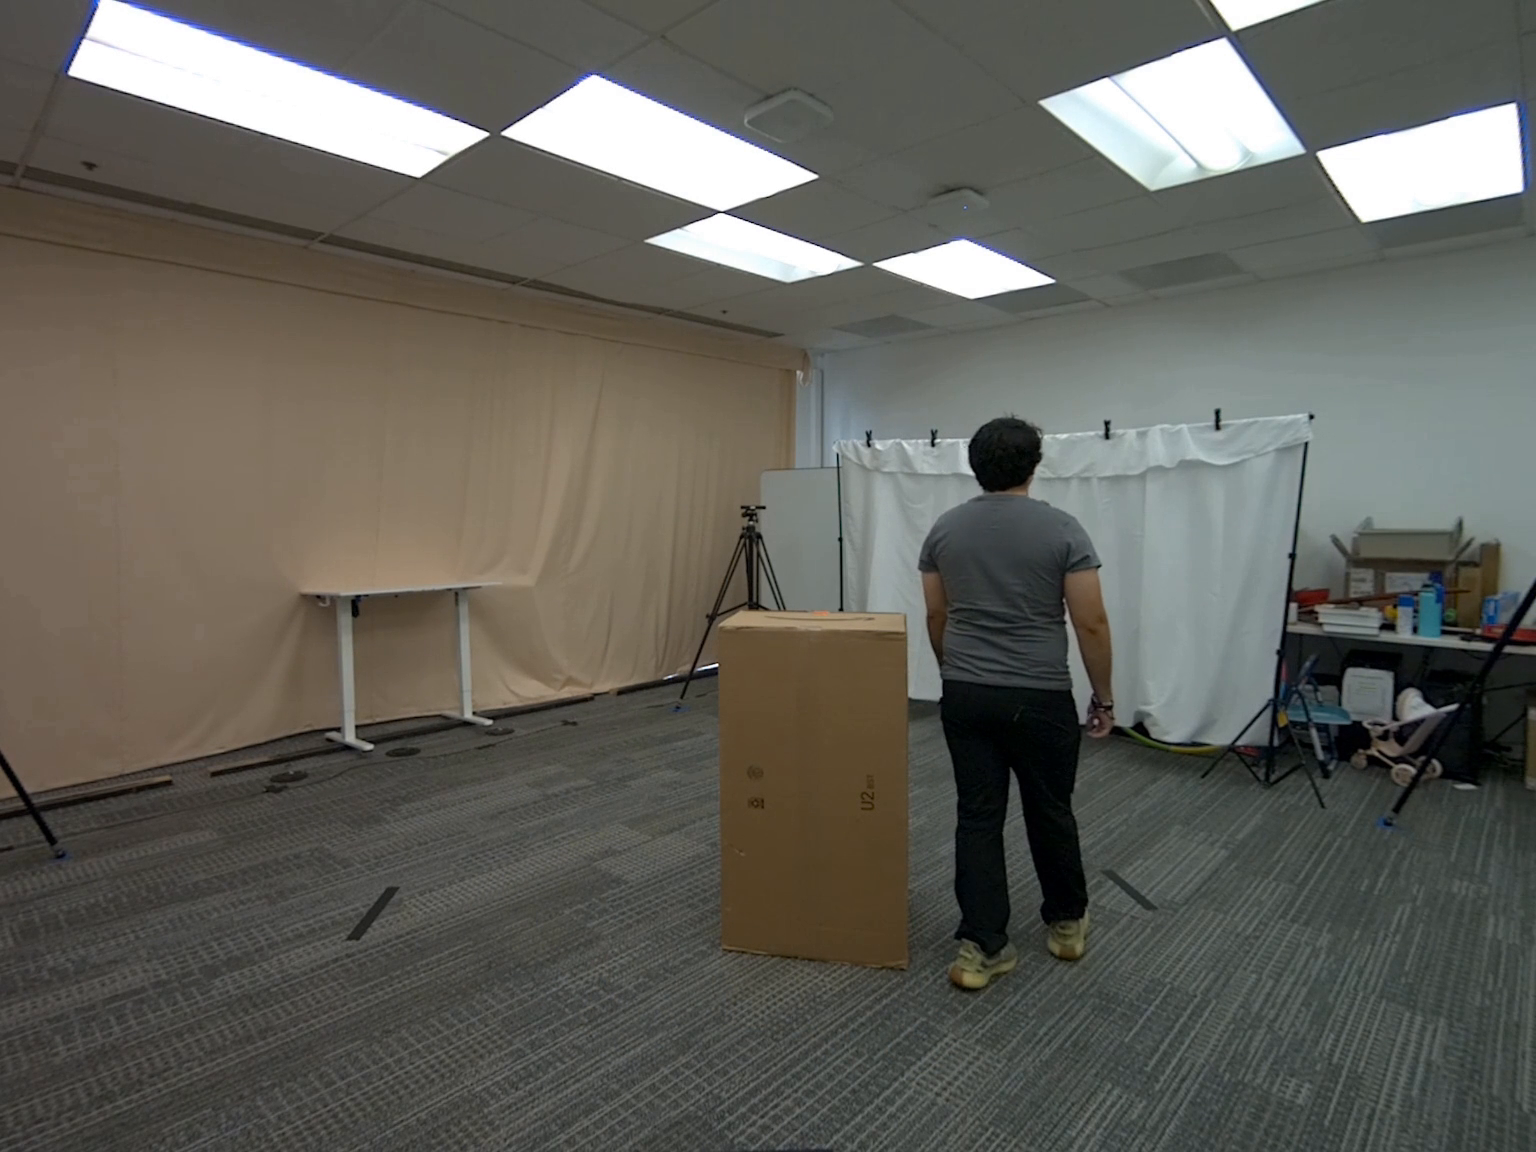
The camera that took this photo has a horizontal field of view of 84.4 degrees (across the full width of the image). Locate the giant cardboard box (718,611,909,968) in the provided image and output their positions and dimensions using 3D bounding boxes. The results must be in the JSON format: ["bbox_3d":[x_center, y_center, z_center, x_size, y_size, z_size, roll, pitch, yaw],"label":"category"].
[{"bbox_3d":[0.165,0.650,2.768,0.585,1.024,0.421,0,3,11],"label":"giant cardboard box"}]
